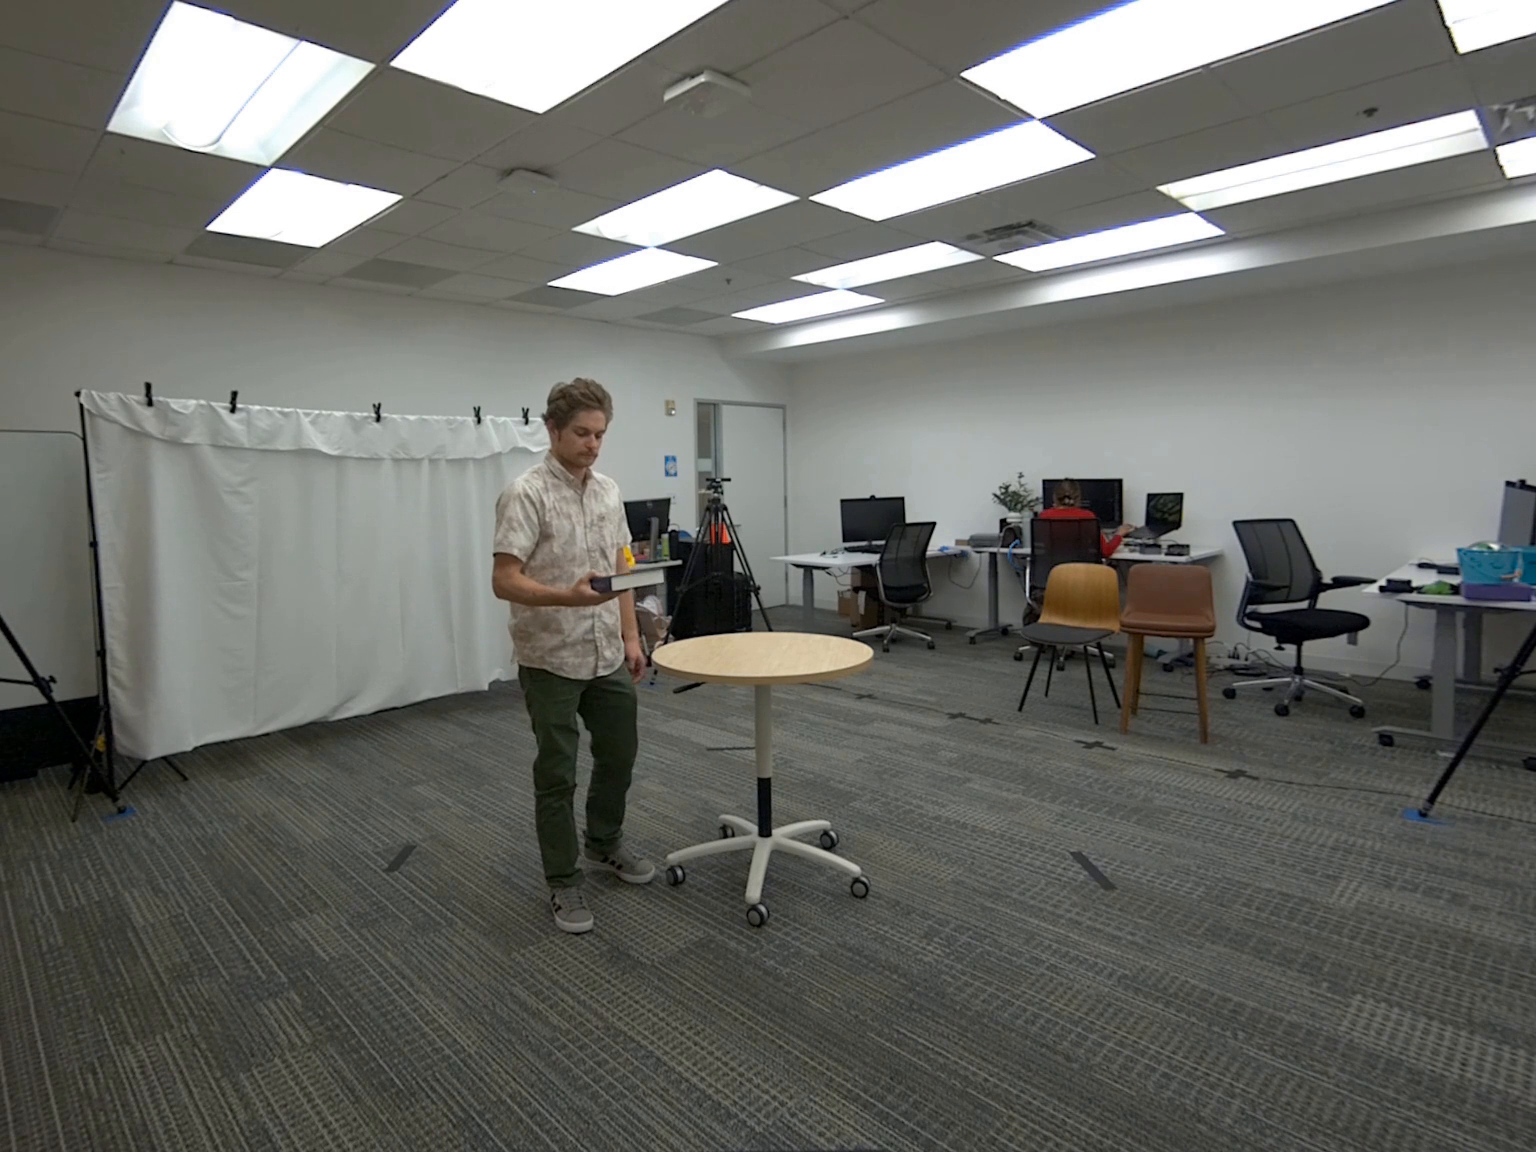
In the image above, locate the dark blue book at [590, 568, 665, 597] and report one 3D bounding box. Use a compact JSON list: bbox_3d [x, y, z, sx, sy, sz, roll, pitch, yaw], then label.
[{"bbox_3d":[-0.414,0.019,2.397,0.160,0.045,0.250,-9,2,-30],"label":"dark blue book"}]
